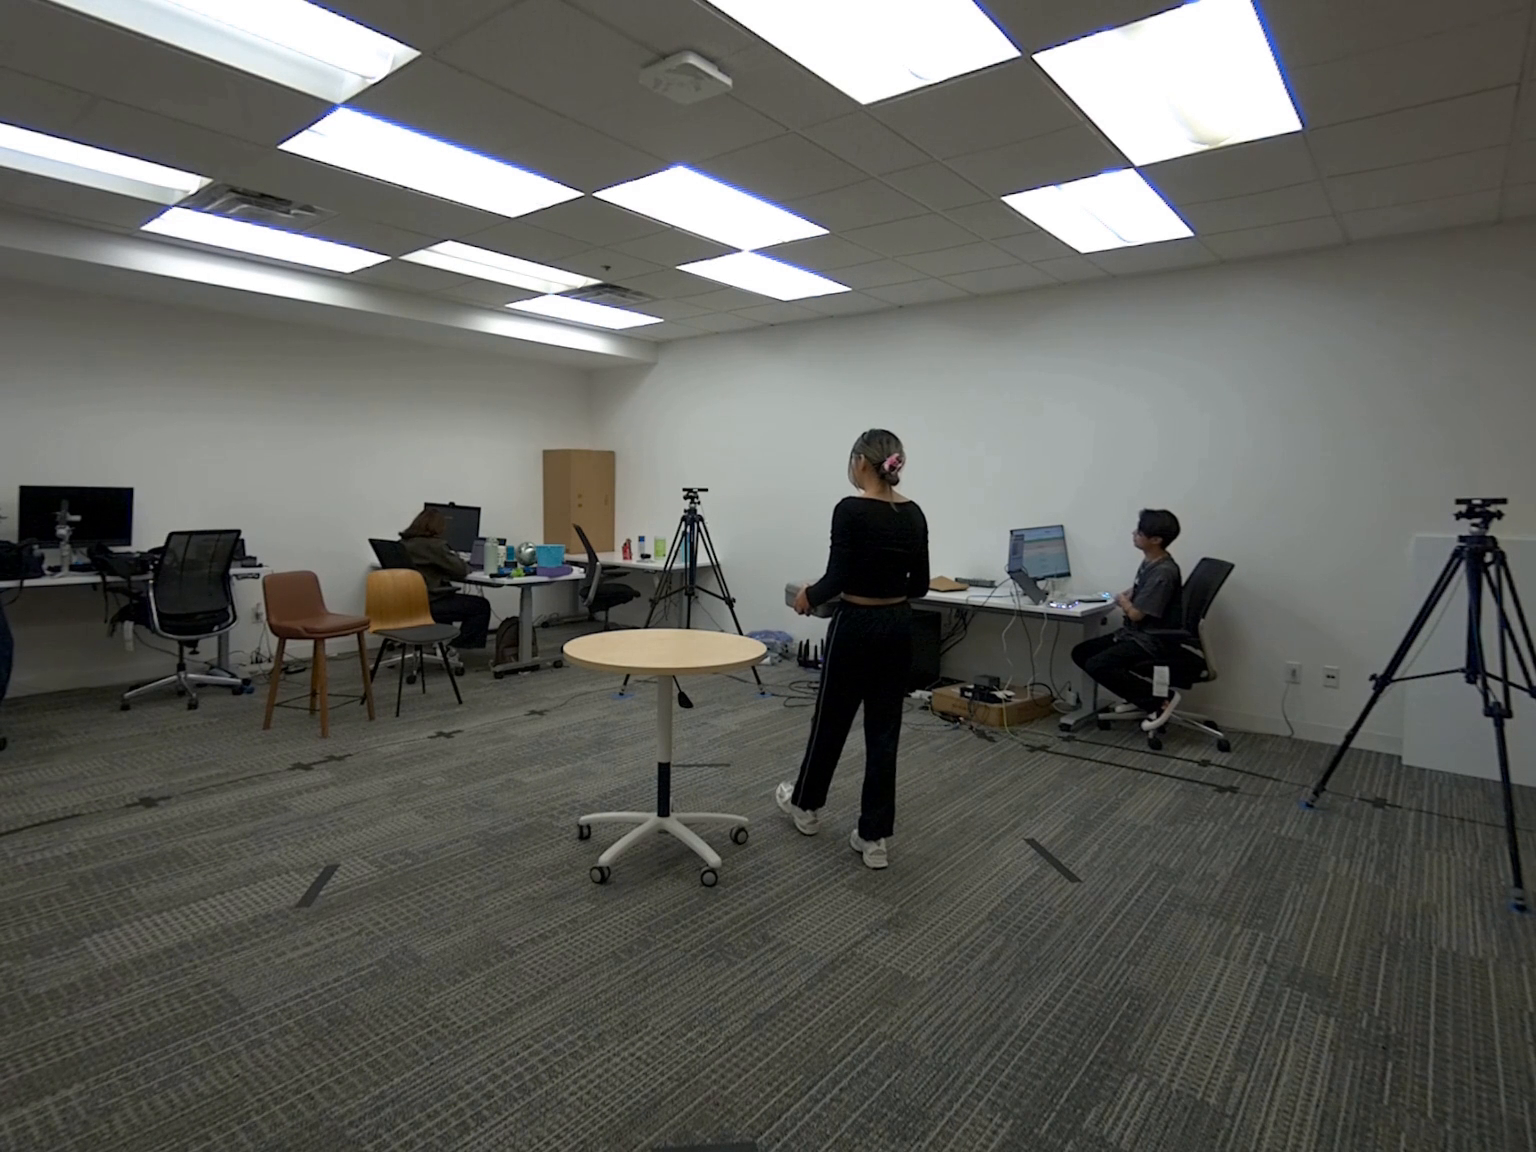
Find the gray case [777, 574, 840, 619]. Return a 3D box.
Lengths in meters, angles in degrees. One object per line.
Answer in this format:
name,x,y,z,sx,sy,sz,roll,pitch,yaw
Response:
gray case,0.219,0.079,3.482,0.250,0.103,0.270,-4,14,-31
